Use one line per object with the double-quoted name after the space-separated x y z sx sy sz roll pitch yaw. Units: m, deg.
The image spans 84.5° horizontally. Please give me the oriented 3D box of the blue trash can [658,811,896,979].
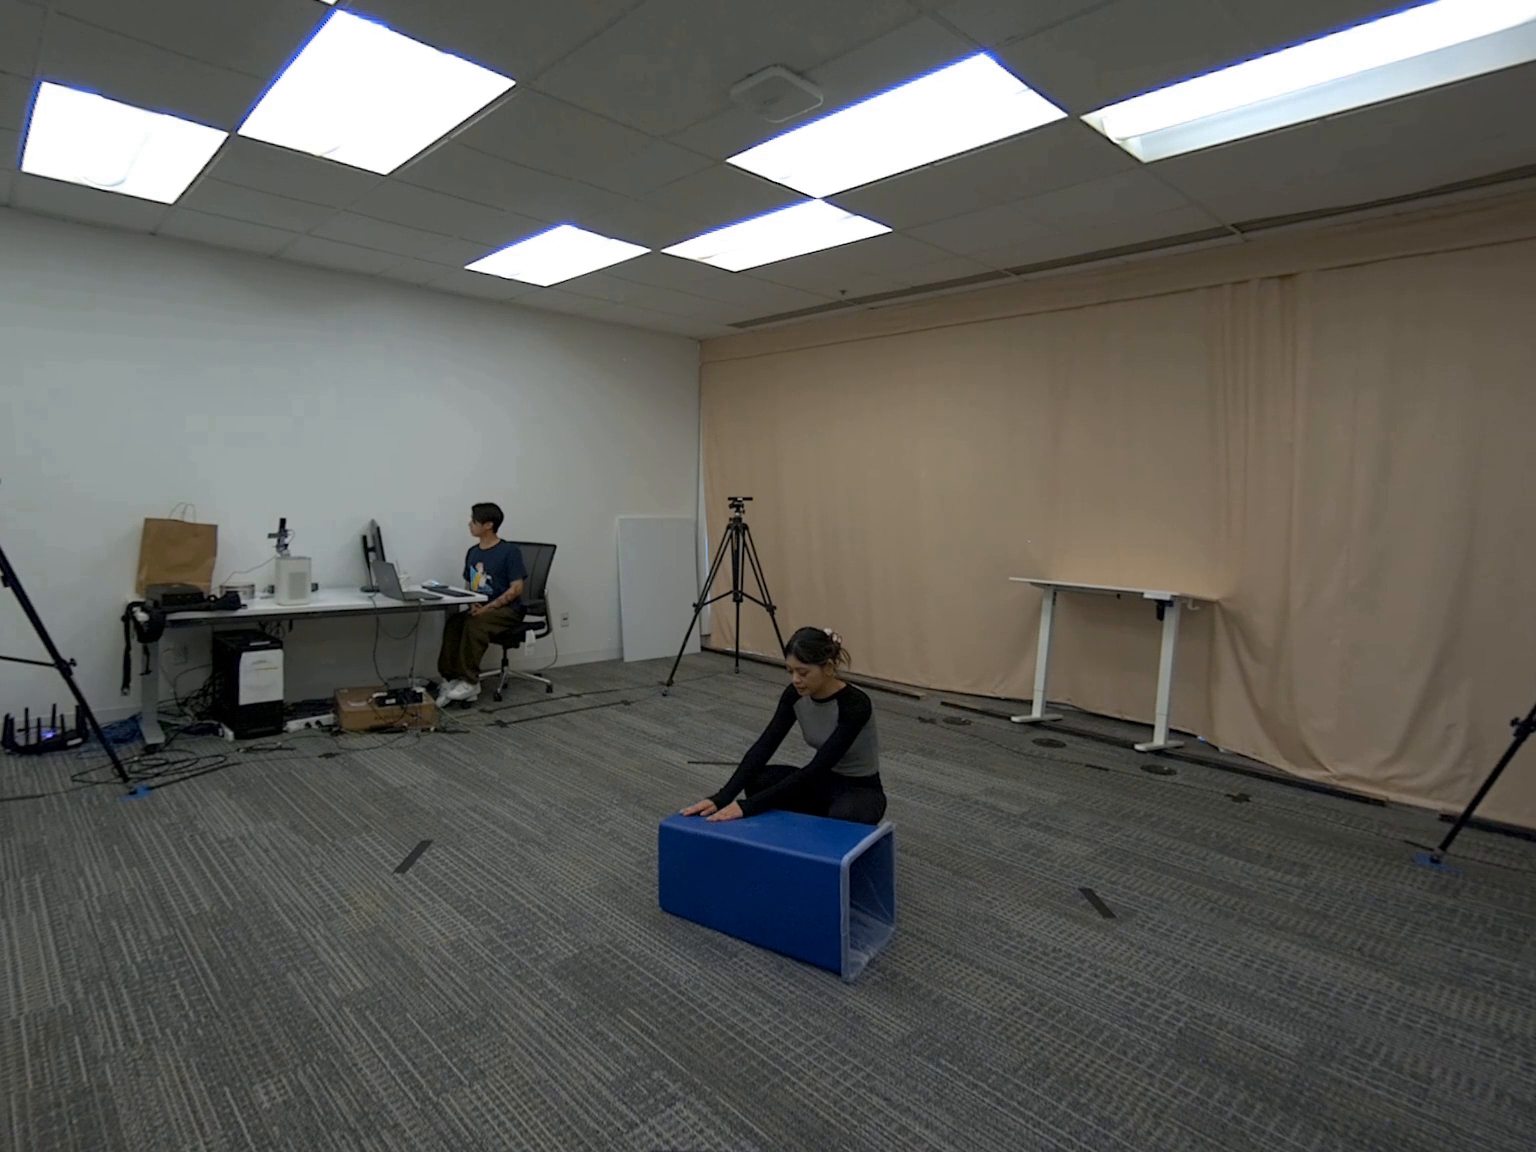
0.010 0.974 2.757 0.729 0.377 0.367 2 5 33 "blue trash can"
